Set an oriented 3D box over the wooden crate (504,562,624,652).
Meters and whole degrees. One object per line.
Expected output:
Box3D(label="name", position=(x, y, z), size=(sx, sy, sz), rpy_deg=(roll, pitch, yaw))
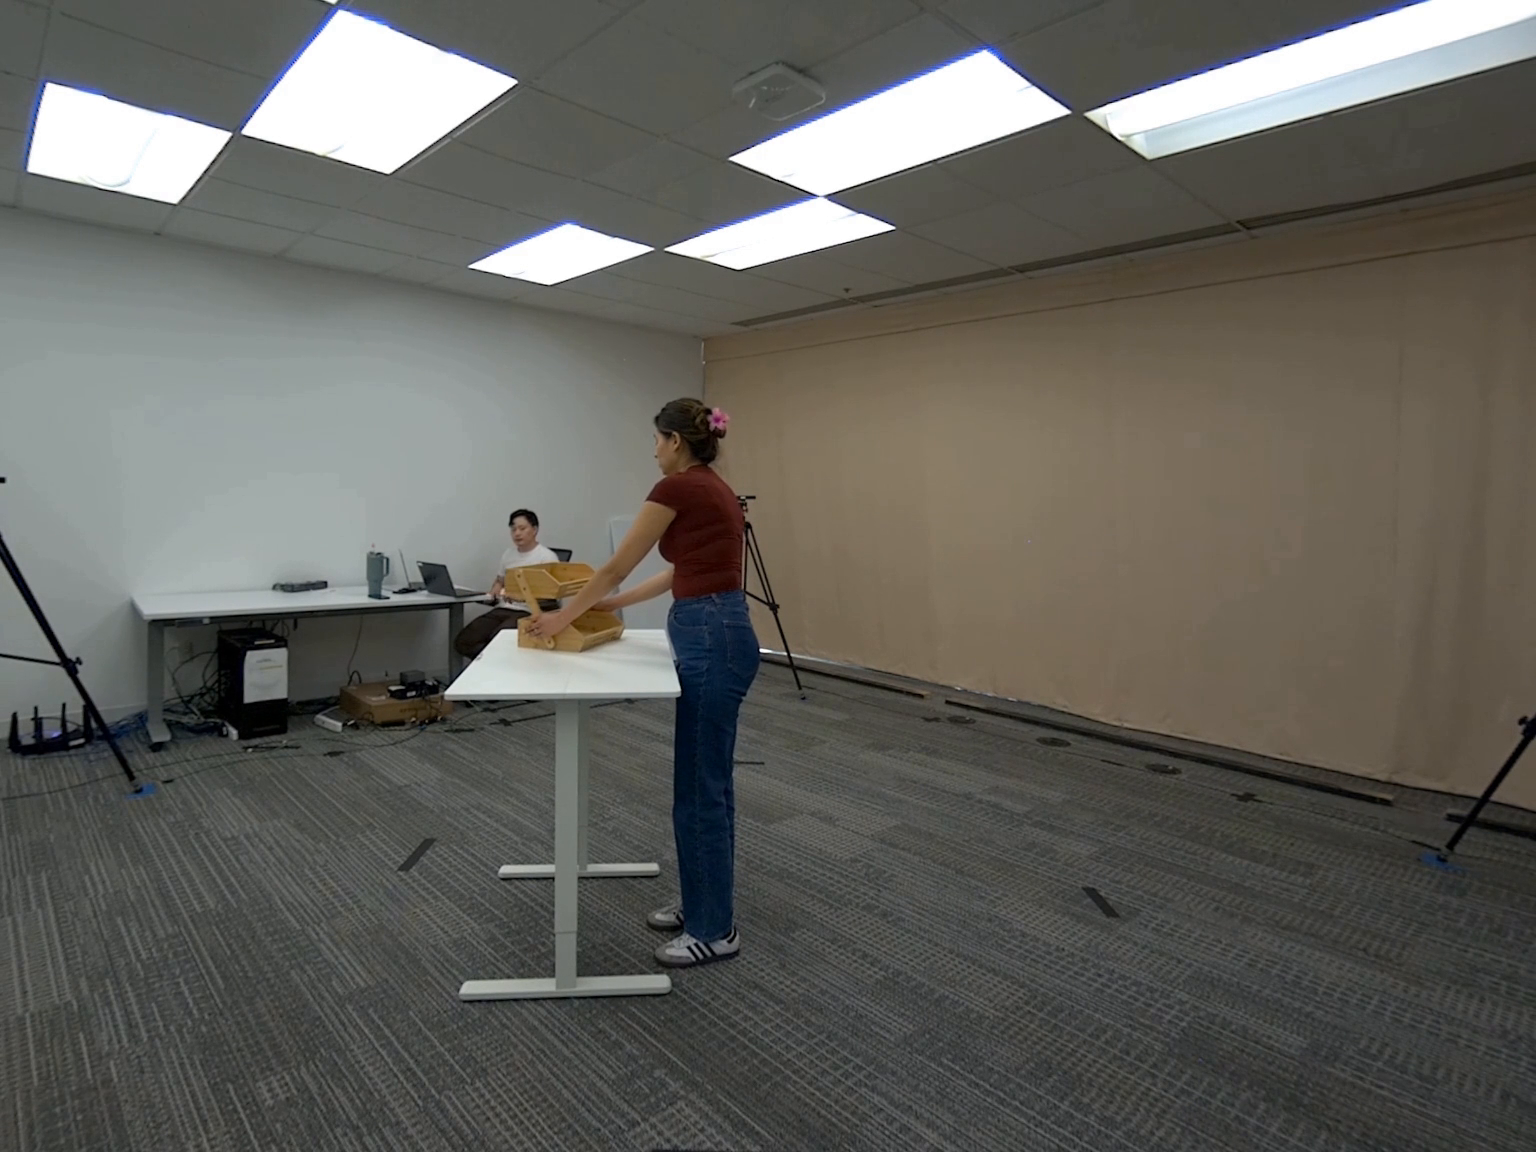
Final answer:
Box3D(label="wooden crate", position=(-0.695, 0.103, 2.875), size=(0.306, 0.272, 0.321), rpy_deg=(3, 5, 17))
